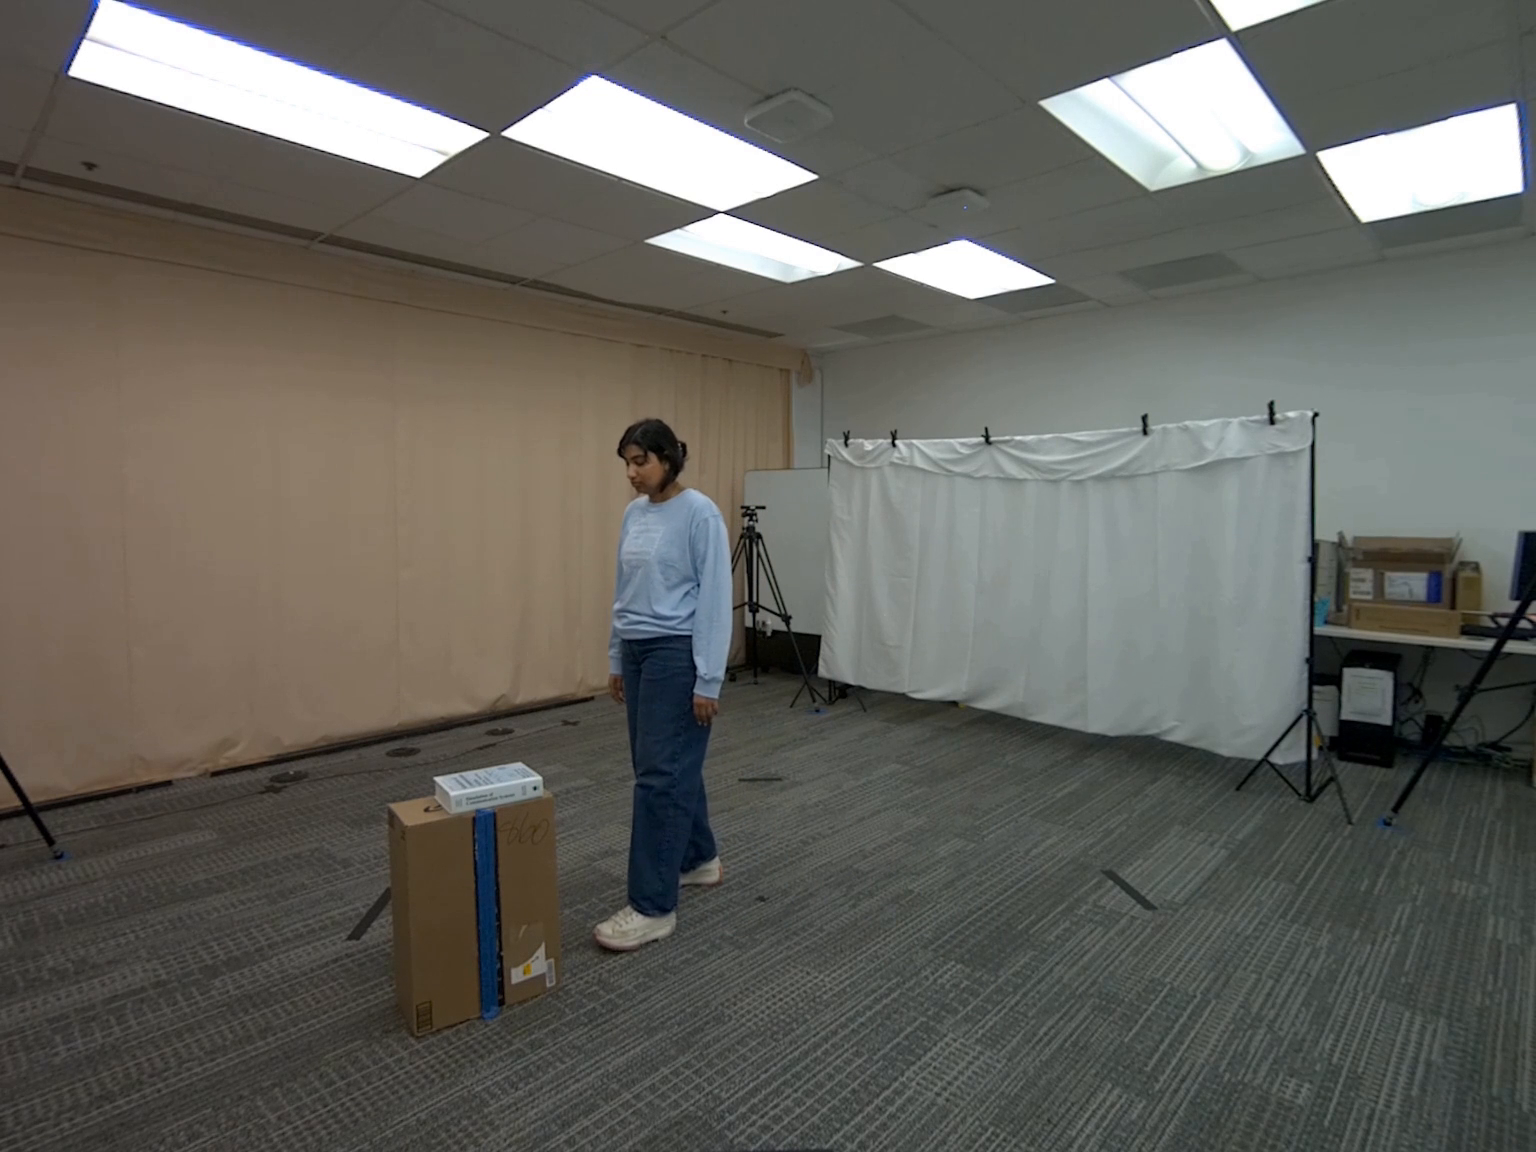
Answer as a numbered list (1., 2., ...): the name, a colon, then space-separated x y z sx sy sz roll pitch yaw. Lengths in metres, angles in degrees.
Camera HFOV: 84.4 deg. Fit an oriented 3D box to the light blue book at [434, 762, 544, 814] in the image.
1. light blue book: -0.799 0.604 2.419 0.254 0.059 0.197 -3 4 -33
